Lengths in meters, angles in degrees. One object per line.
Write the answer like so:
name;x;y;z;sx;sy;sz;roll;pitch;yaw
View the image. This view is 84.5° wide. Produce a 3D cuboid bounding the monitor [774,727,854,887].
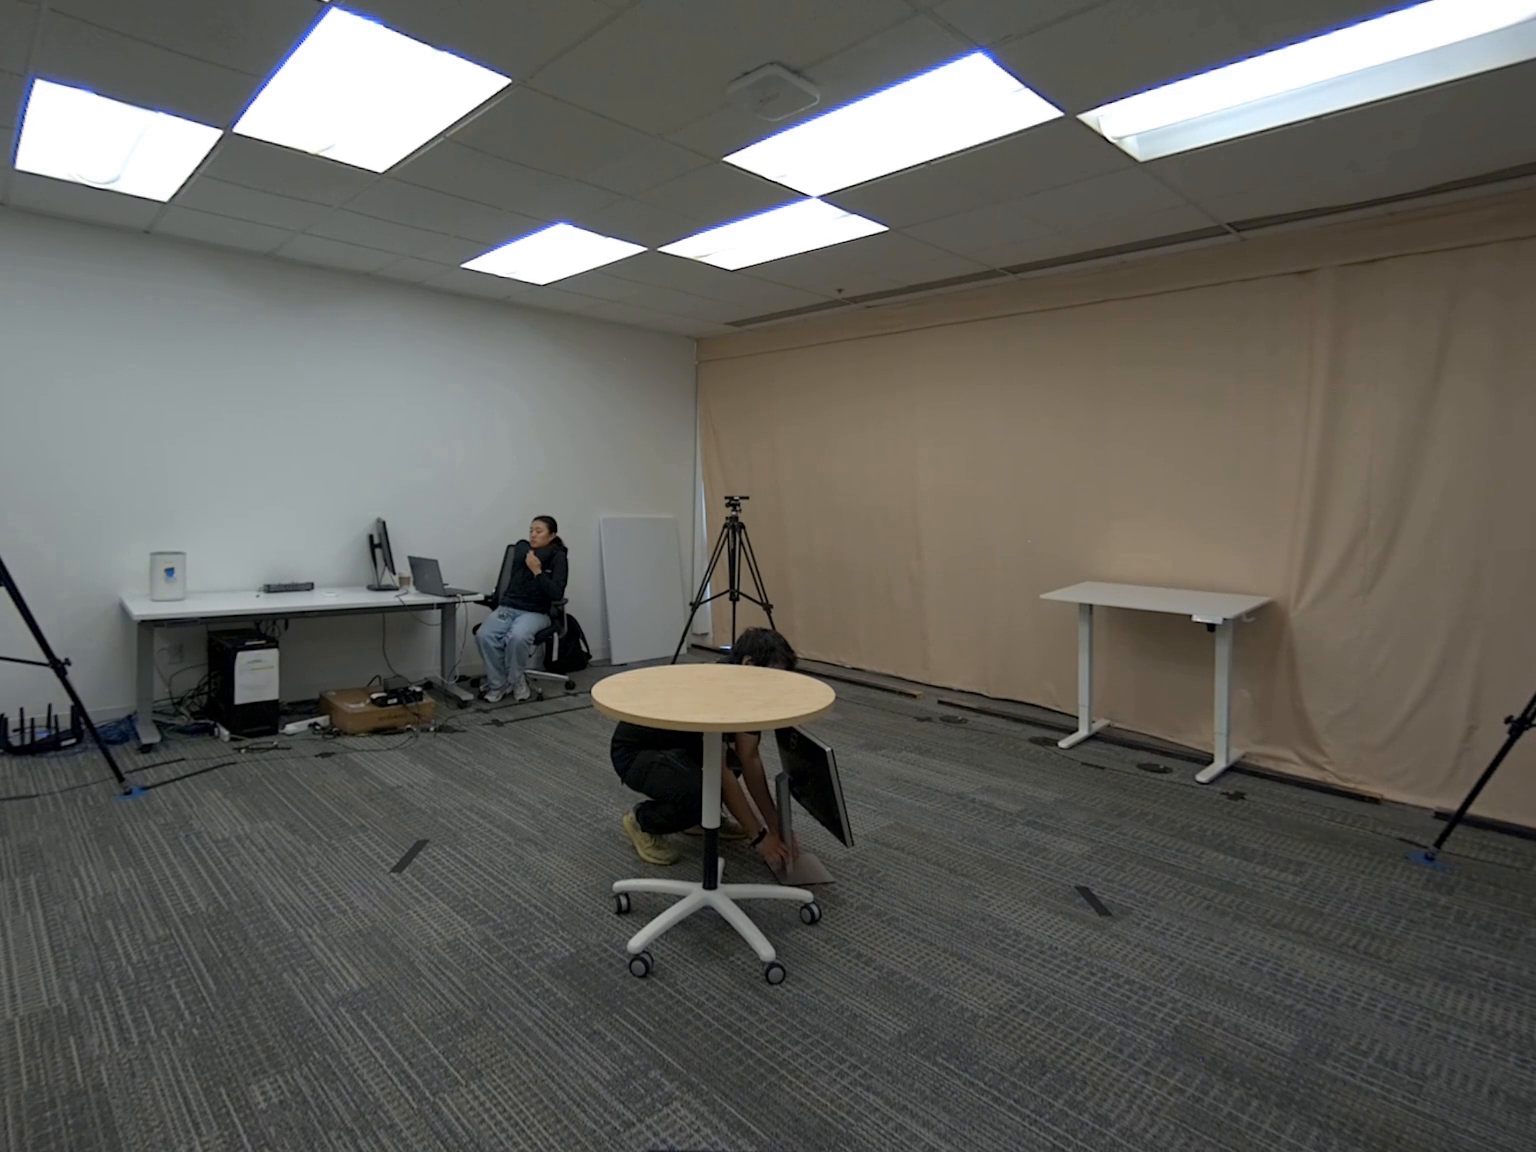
monitor;0.088;0.834;3.132;0.207;0.551;0.575;-6;6;-19
